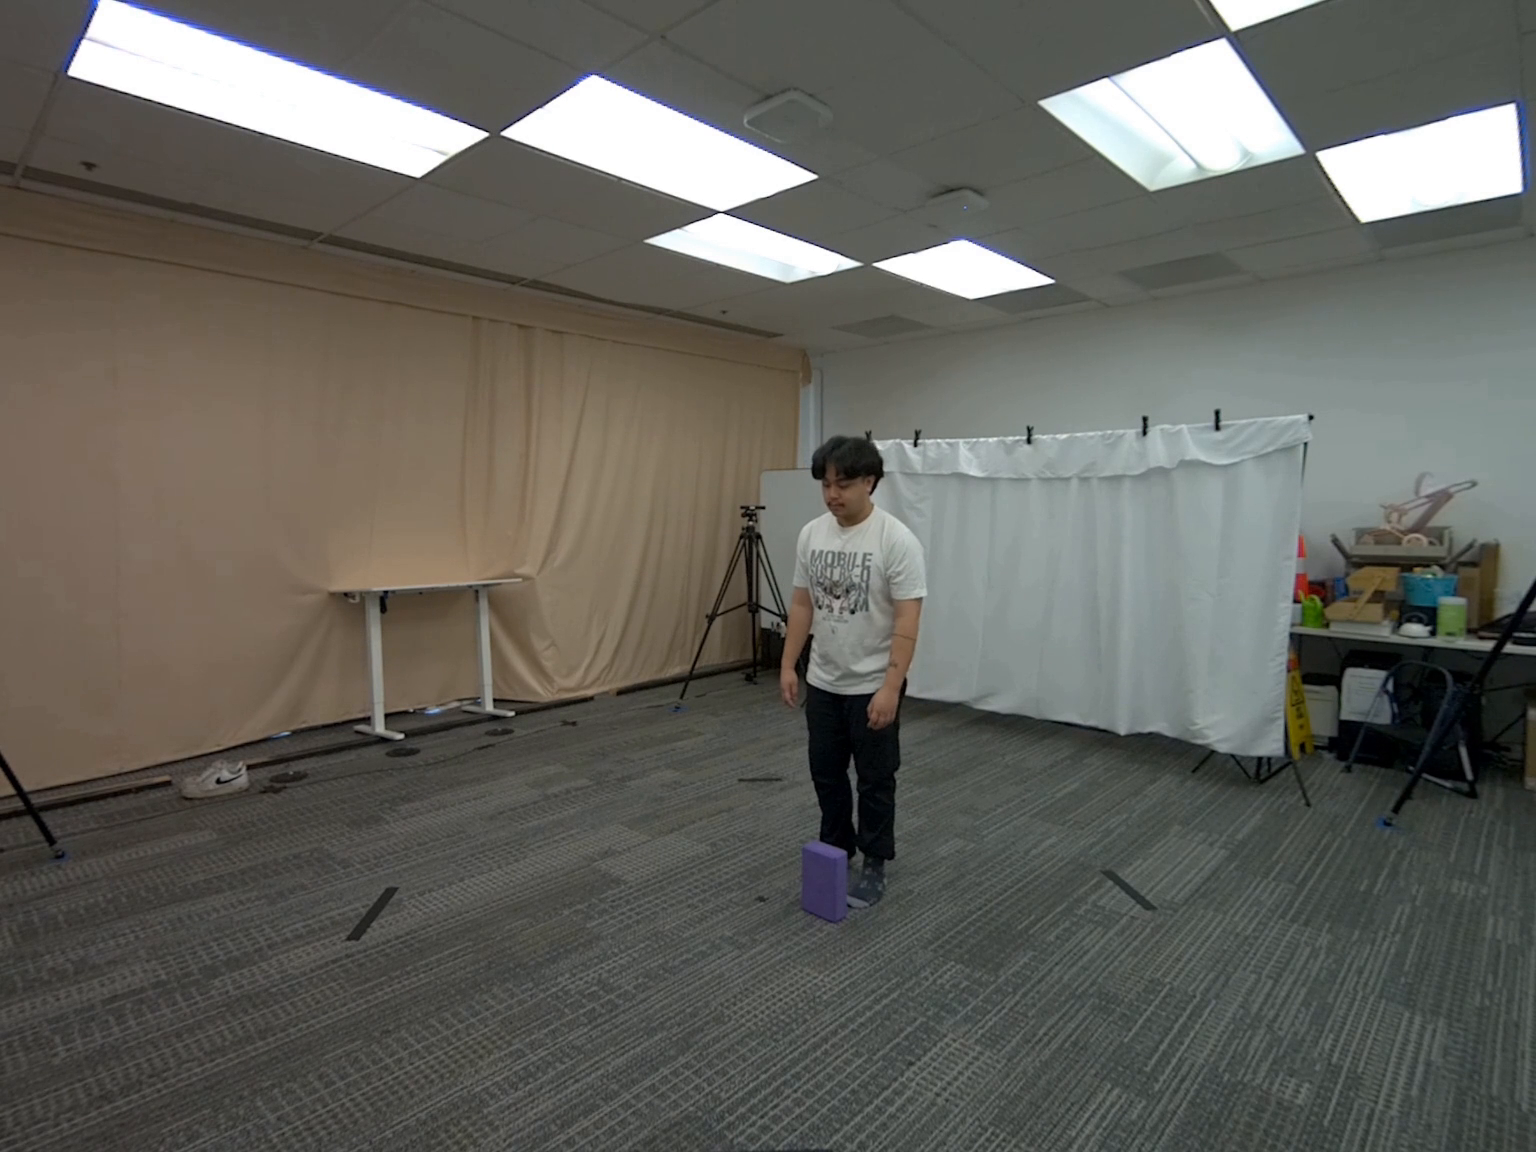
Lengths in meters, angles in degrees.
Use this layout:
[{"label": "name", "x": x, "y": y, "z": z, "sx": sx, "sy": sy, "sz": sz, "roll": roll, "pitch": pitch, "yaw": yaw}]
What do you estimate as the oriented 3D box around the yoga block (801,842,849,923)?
[{"label": "yoga block", "x": 0.194, "y": 1.040, "z": 2.865, "sx": 0.074, "sy": 0.228, "sz": 0.154, "roll": -5, "pitch": 8, "yaw": -45}]
